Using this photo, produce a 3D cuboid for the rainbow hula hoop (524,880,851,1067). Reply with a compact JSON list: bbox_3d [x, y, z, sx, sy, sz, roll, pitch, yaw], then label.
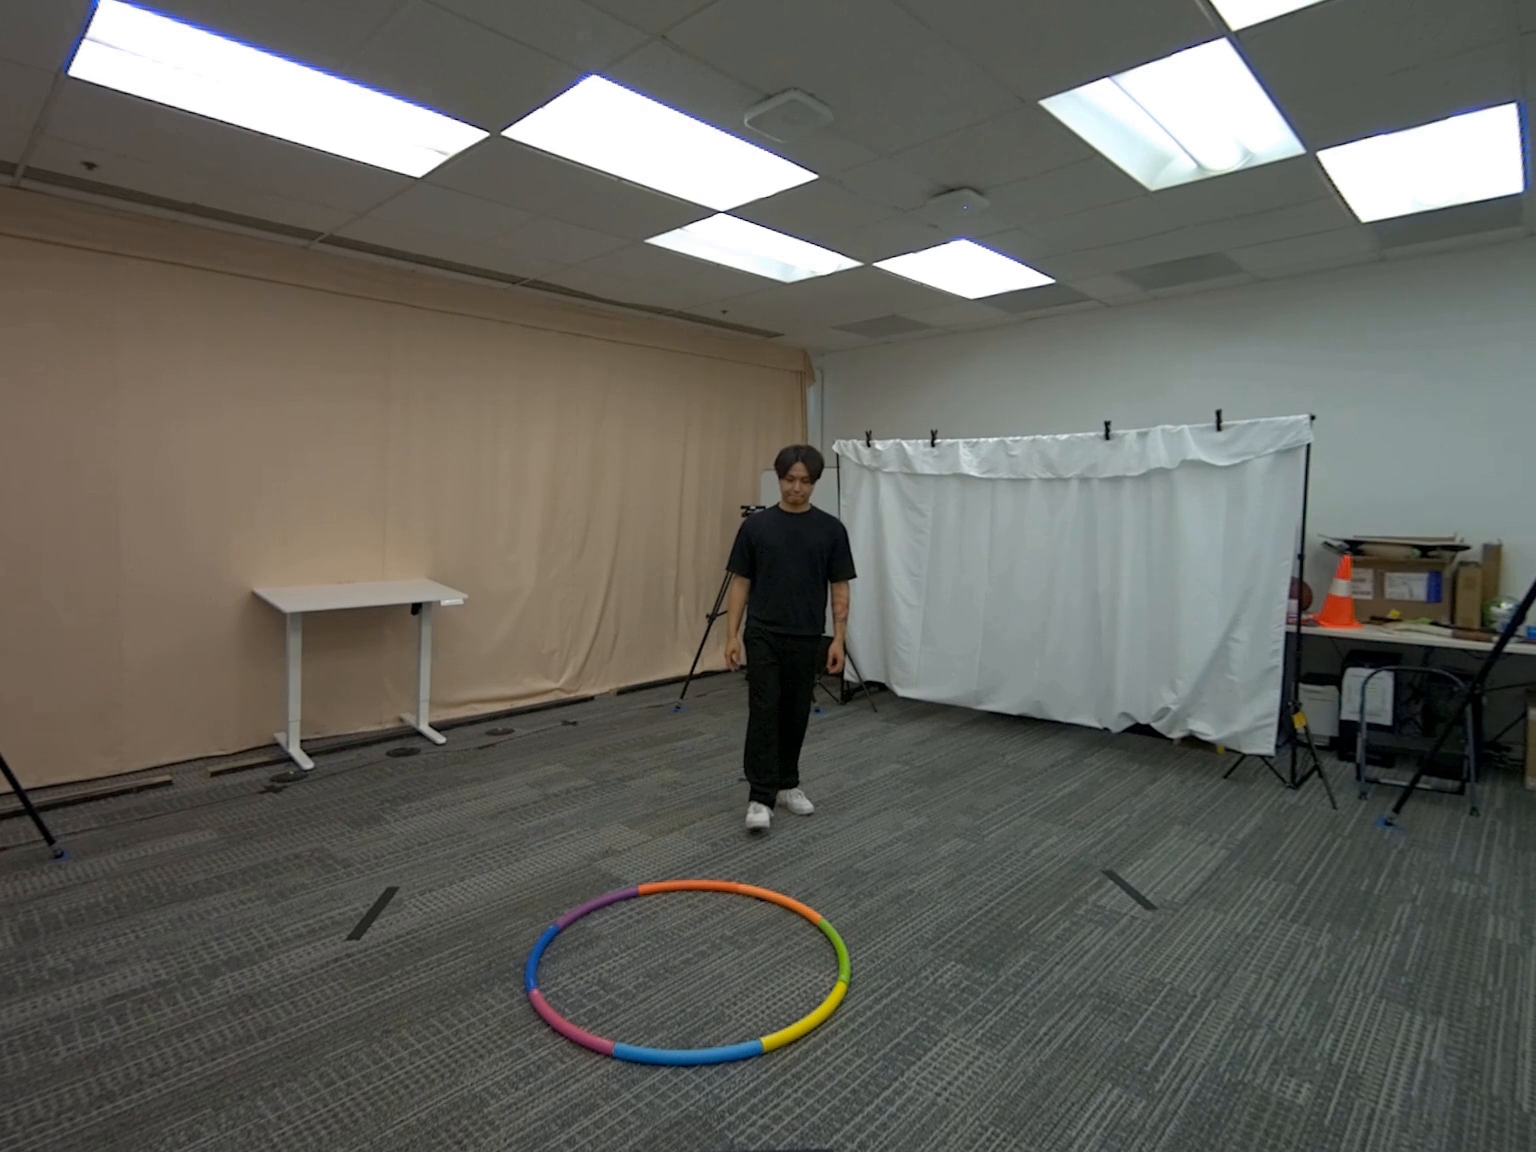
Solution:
[{"bbox_3d":[-0.239,1.149,2.581,0.978,0.035,0.982,-1,4,-2],"label":"rainbow hula hoop"}]
